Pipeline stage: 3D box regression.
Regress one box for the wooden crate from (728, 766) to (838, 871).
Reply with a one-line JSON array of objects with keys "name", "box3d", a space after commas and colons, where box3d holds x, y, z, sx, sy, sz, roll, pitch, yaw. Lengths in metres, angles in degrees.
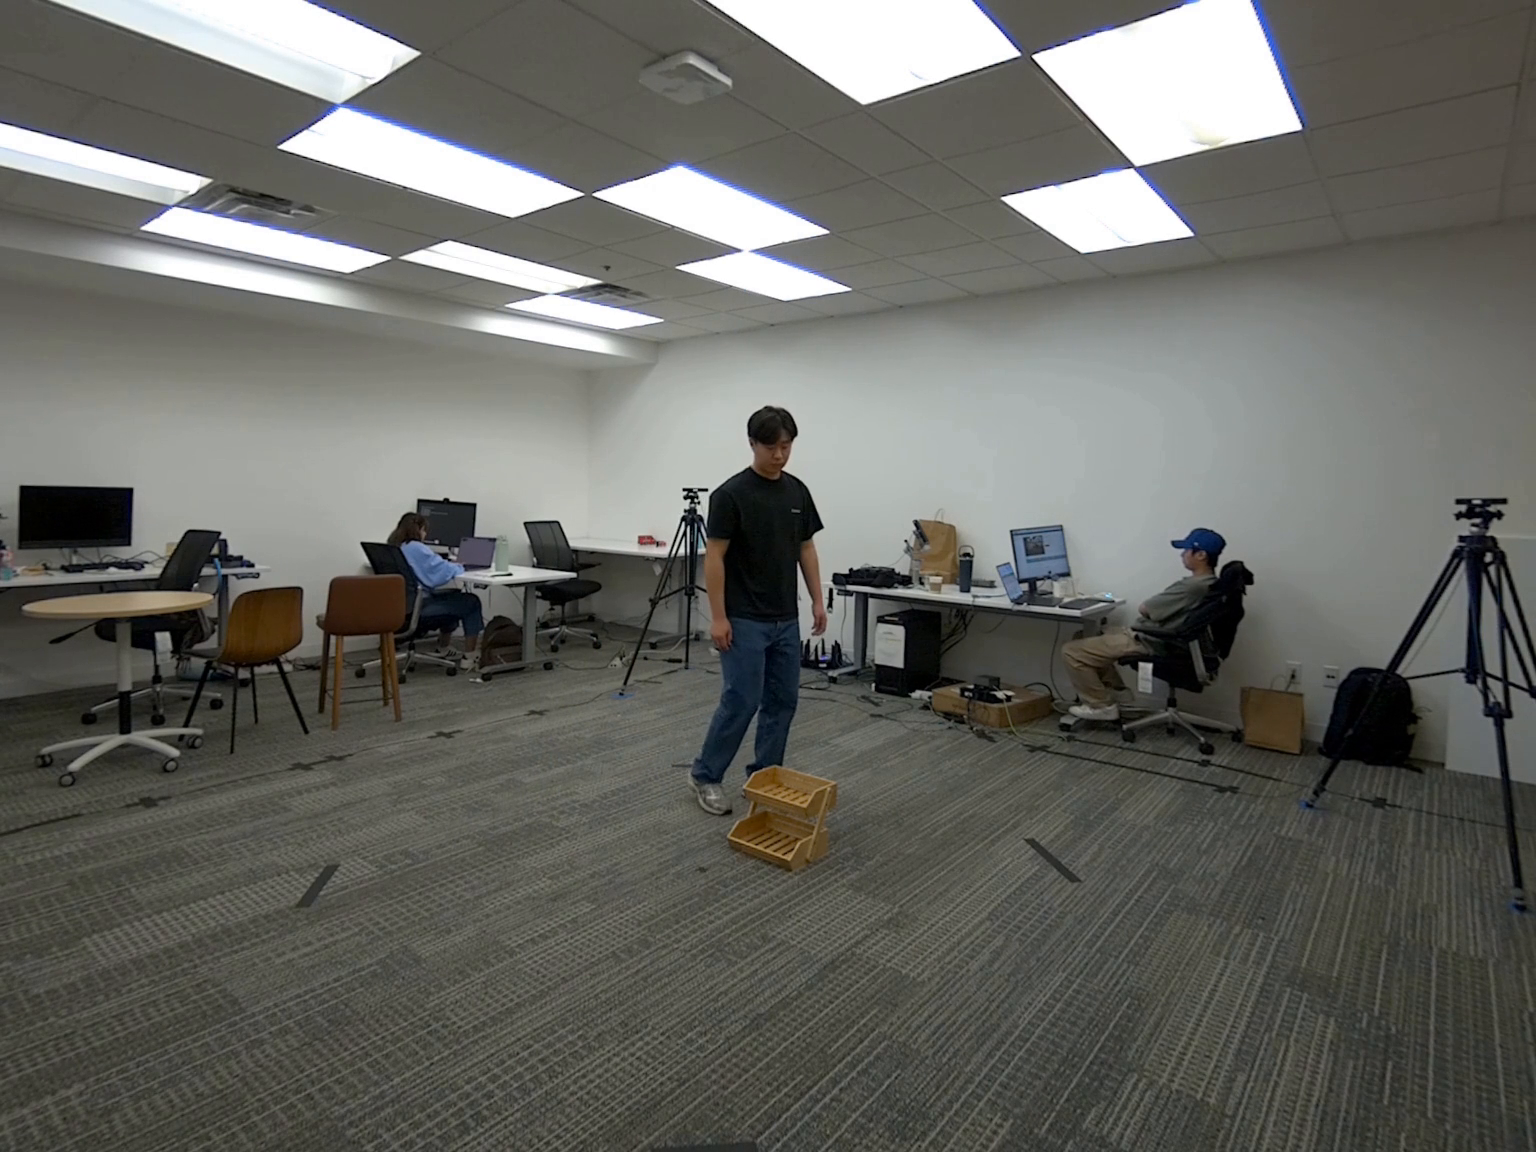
[{"name": "wooden crate", "box3d": [0.045, 0.926, 3.300, 0.335, 0.272, 0.293, 6, 5, 39]}]
